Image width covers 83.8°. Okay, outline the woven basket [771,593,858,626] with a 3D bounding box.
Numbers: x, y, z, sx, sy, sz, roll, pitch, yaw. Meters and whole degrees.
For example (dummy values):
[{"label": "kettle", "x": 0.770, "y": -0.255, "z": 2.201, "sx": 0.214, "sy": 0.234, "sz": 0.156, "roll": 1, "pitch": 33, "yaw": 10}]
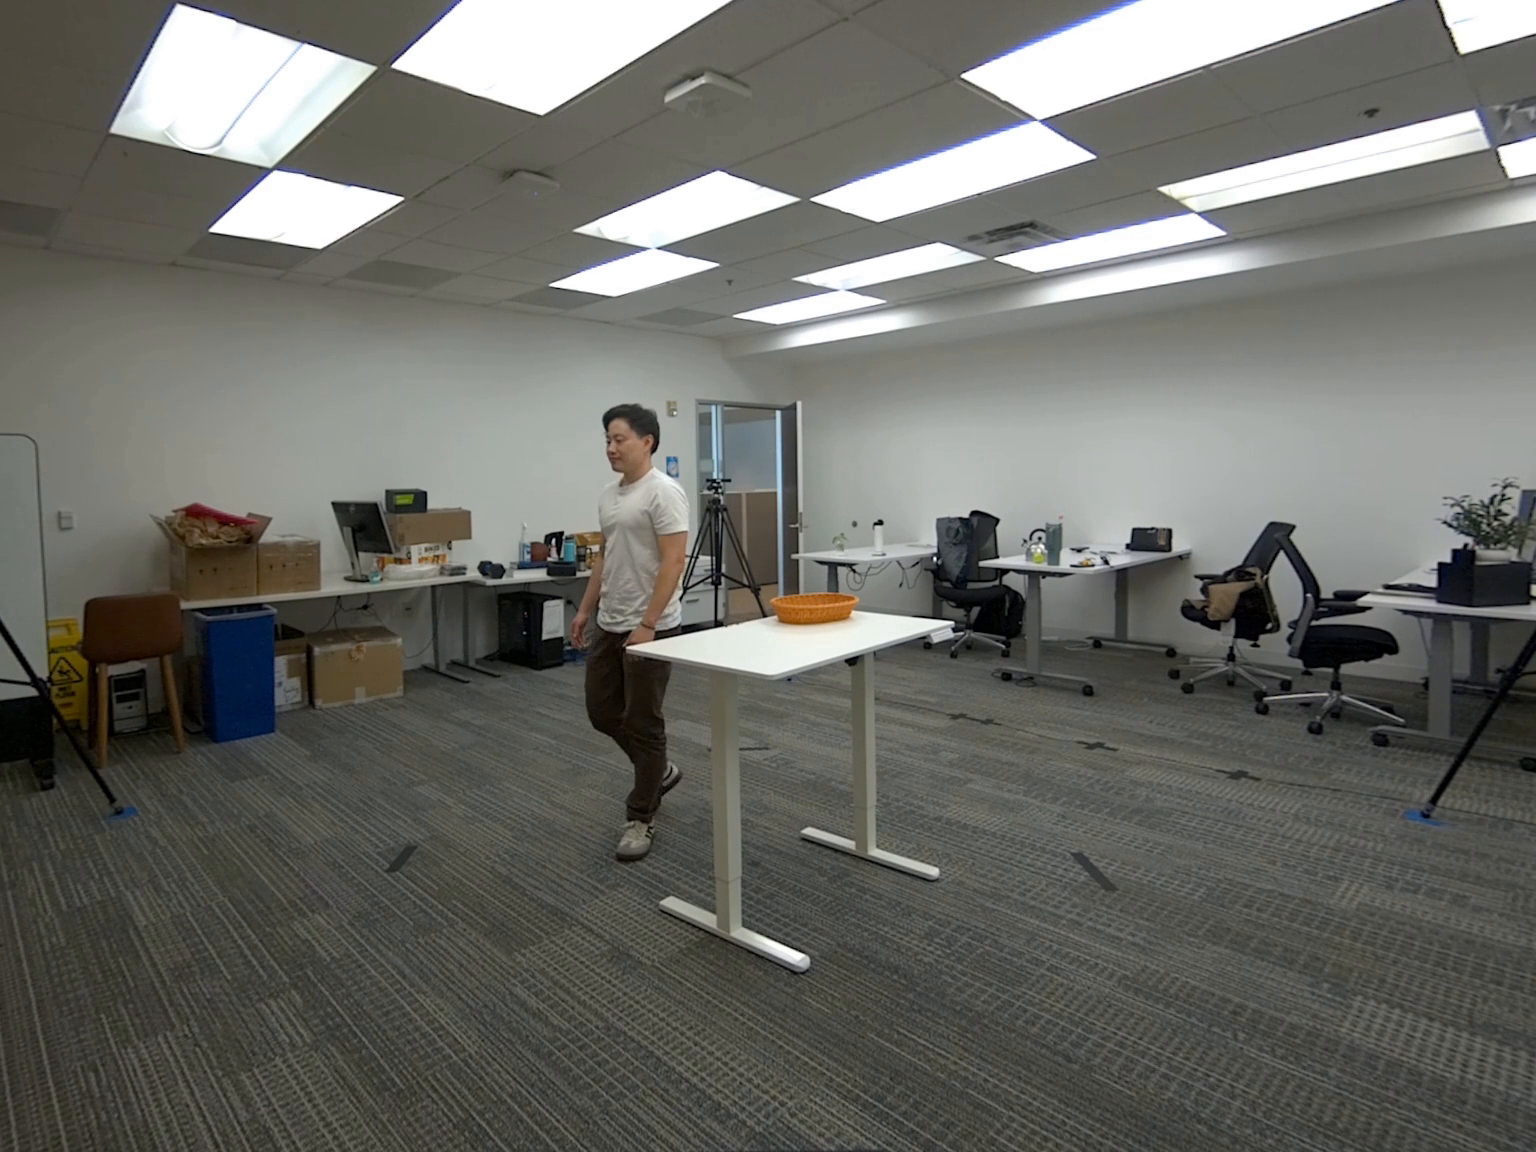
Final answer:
[{"label": "woven basket", "x": 0.173, "y": 0.125, "z": 3.104, "sx": 0.342, "sy": 0.073, "sz": 0.259, "roll": -4, "pitch": 7, "yaw": -28}]
